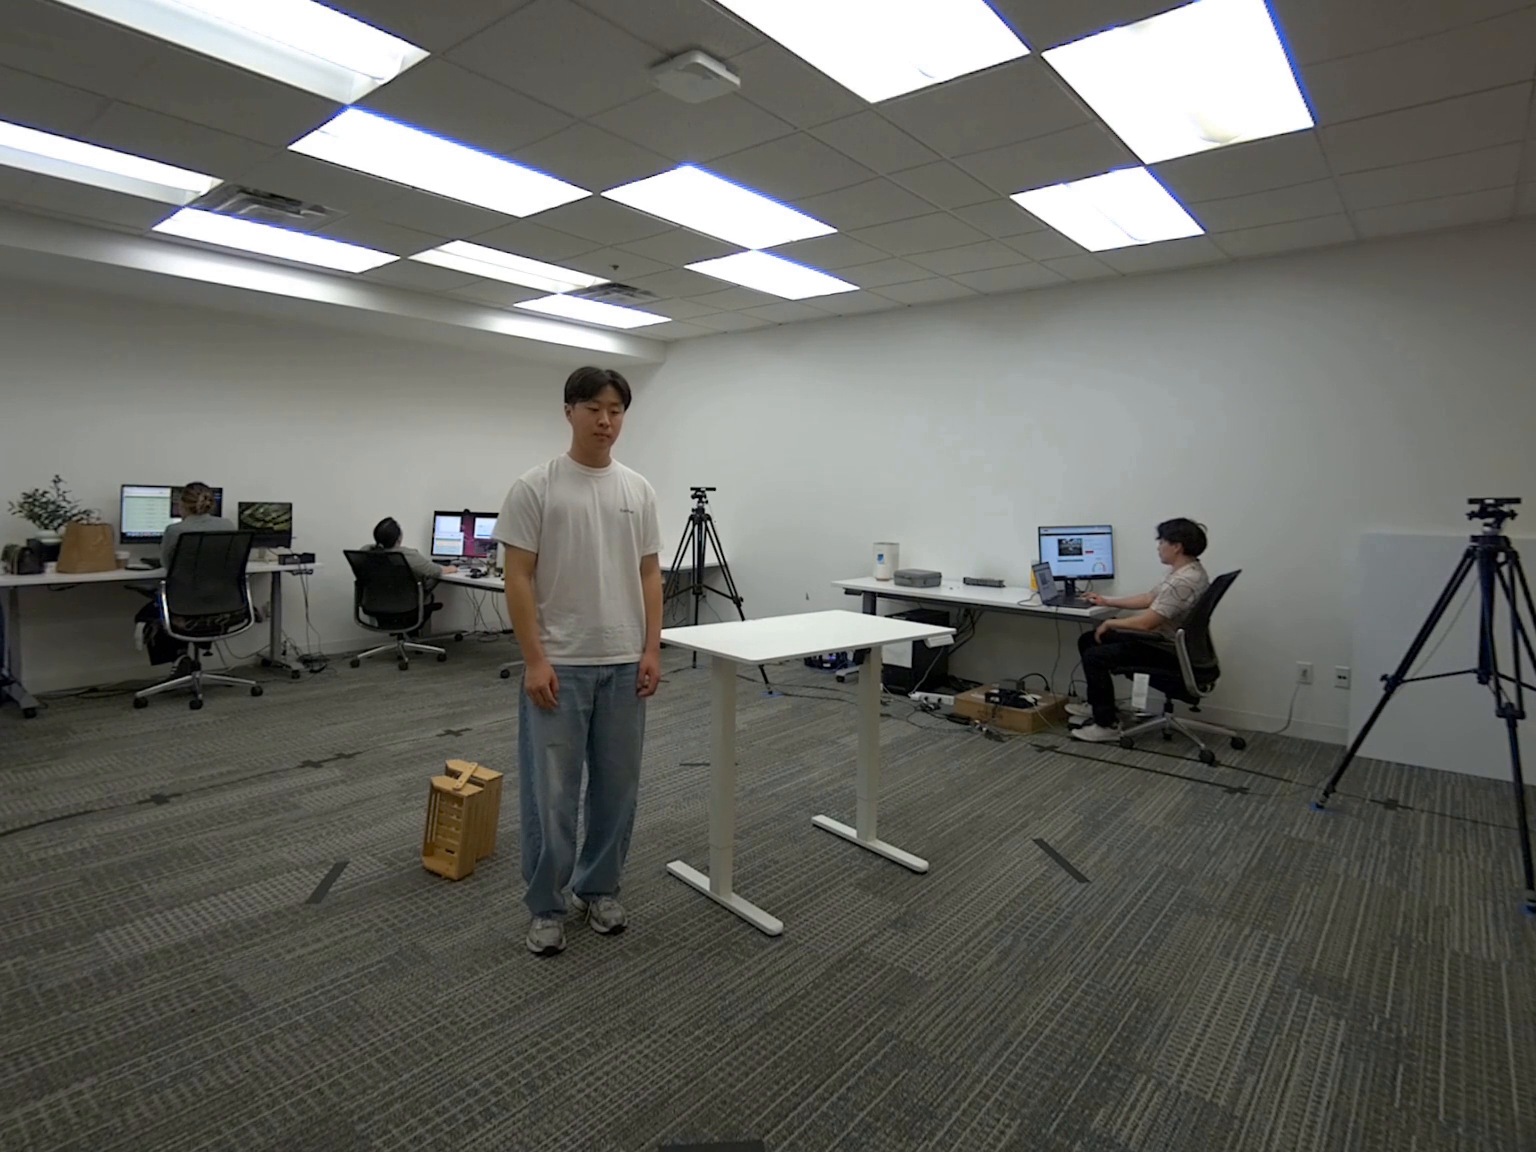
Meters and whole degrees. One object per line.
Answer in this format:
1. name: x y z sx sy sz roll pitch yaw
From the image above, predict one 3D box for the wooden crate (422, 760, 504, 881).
1. wooden crate: -1.172 0.886 3.125 0.310 0.324 0.267 7 3 22
